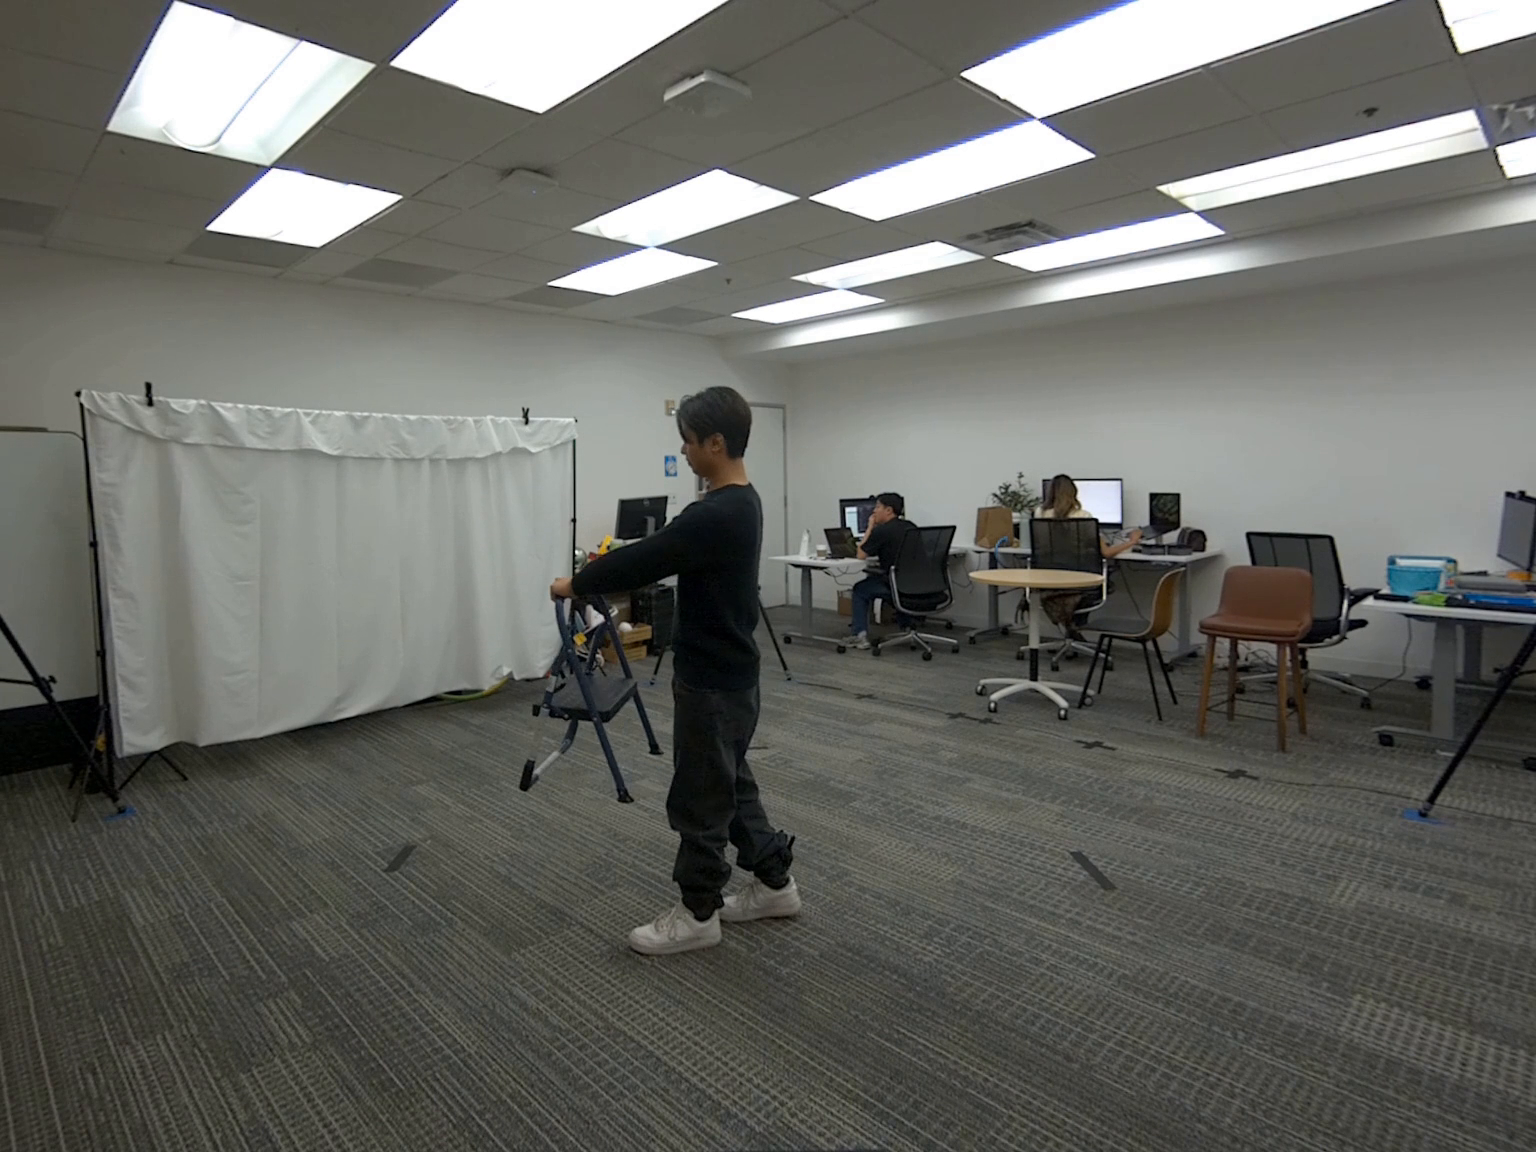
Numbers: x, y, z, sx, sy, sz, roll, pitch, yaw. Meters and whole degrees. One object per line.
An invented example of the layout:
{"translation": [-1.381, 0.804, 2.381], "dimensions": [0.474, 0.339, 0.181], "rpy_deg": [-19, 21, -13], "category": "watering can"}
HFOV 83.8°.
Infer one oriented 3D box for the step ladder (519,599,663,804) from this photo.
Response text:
{"translation": [-0.534, 0.332, 2.685], "dimensions": [0.351, 0.602, 0.431], "rpy_deg": [4, 7, 5], "category": "step ladder"}
